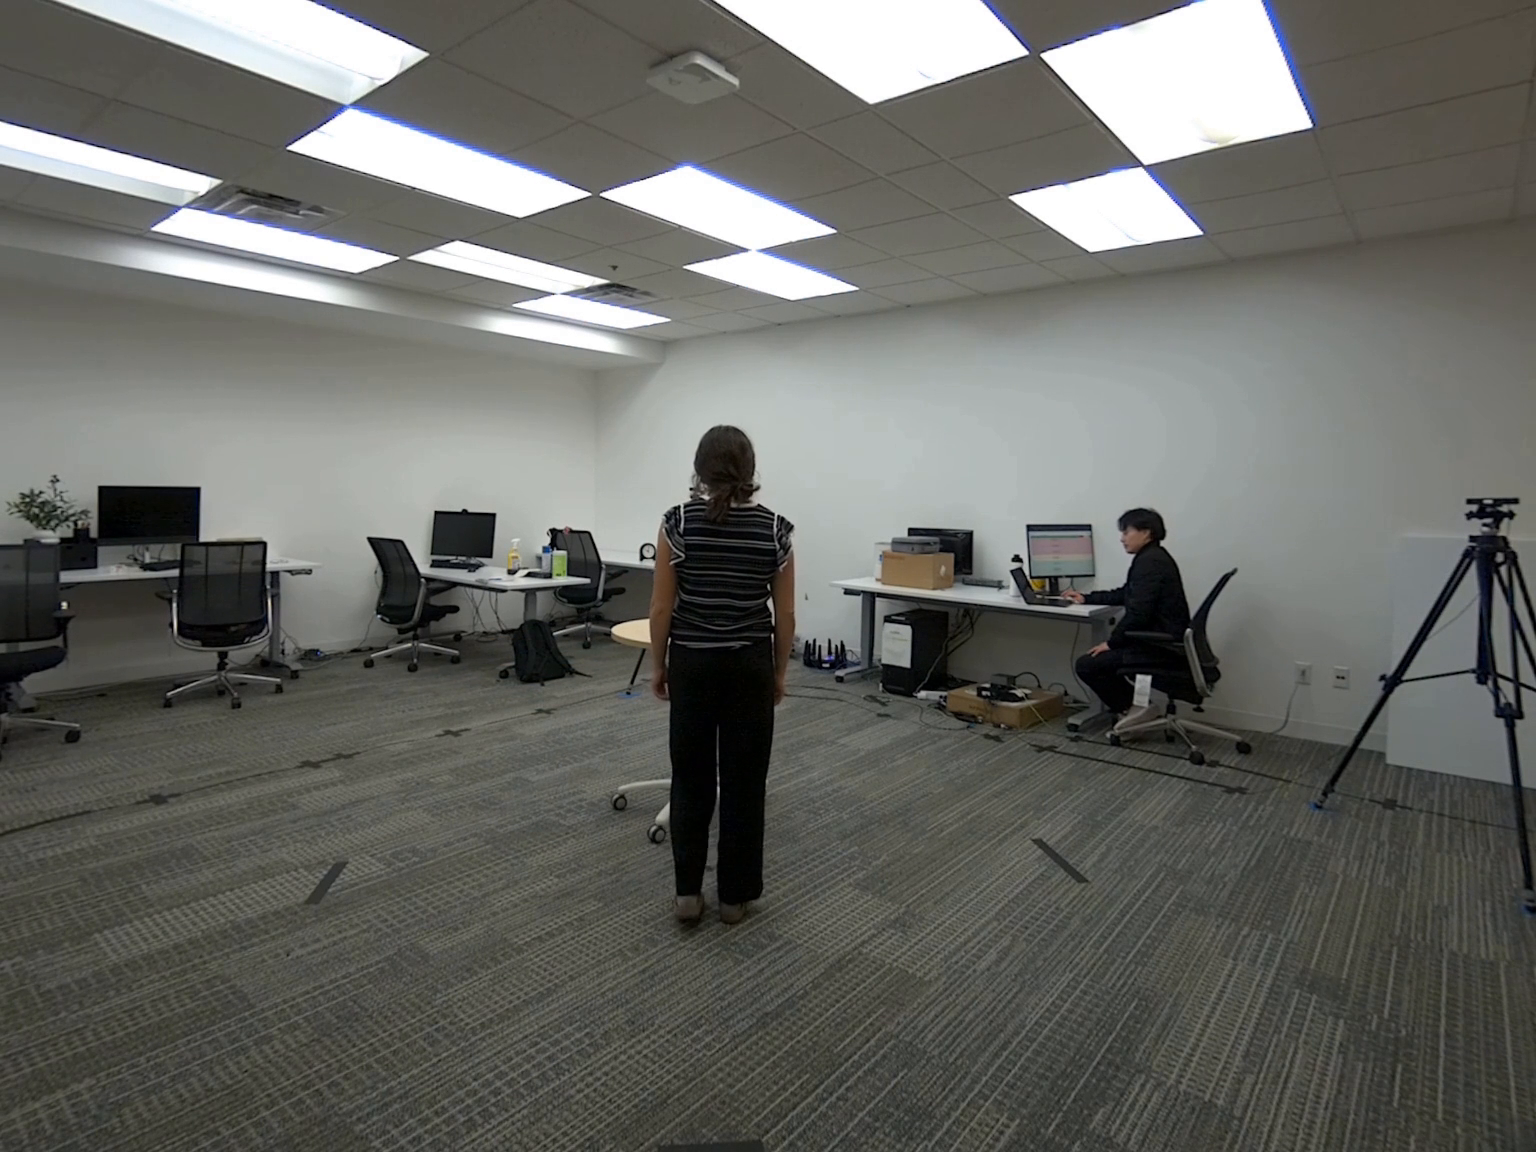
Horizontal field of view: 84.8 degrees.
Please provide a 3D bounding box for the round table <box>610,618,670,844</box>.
[{"bbox_3d":[-0.298,0.617,3.617,0.784,0.784,0.789,1,4,-2],"label":"round table"}]
